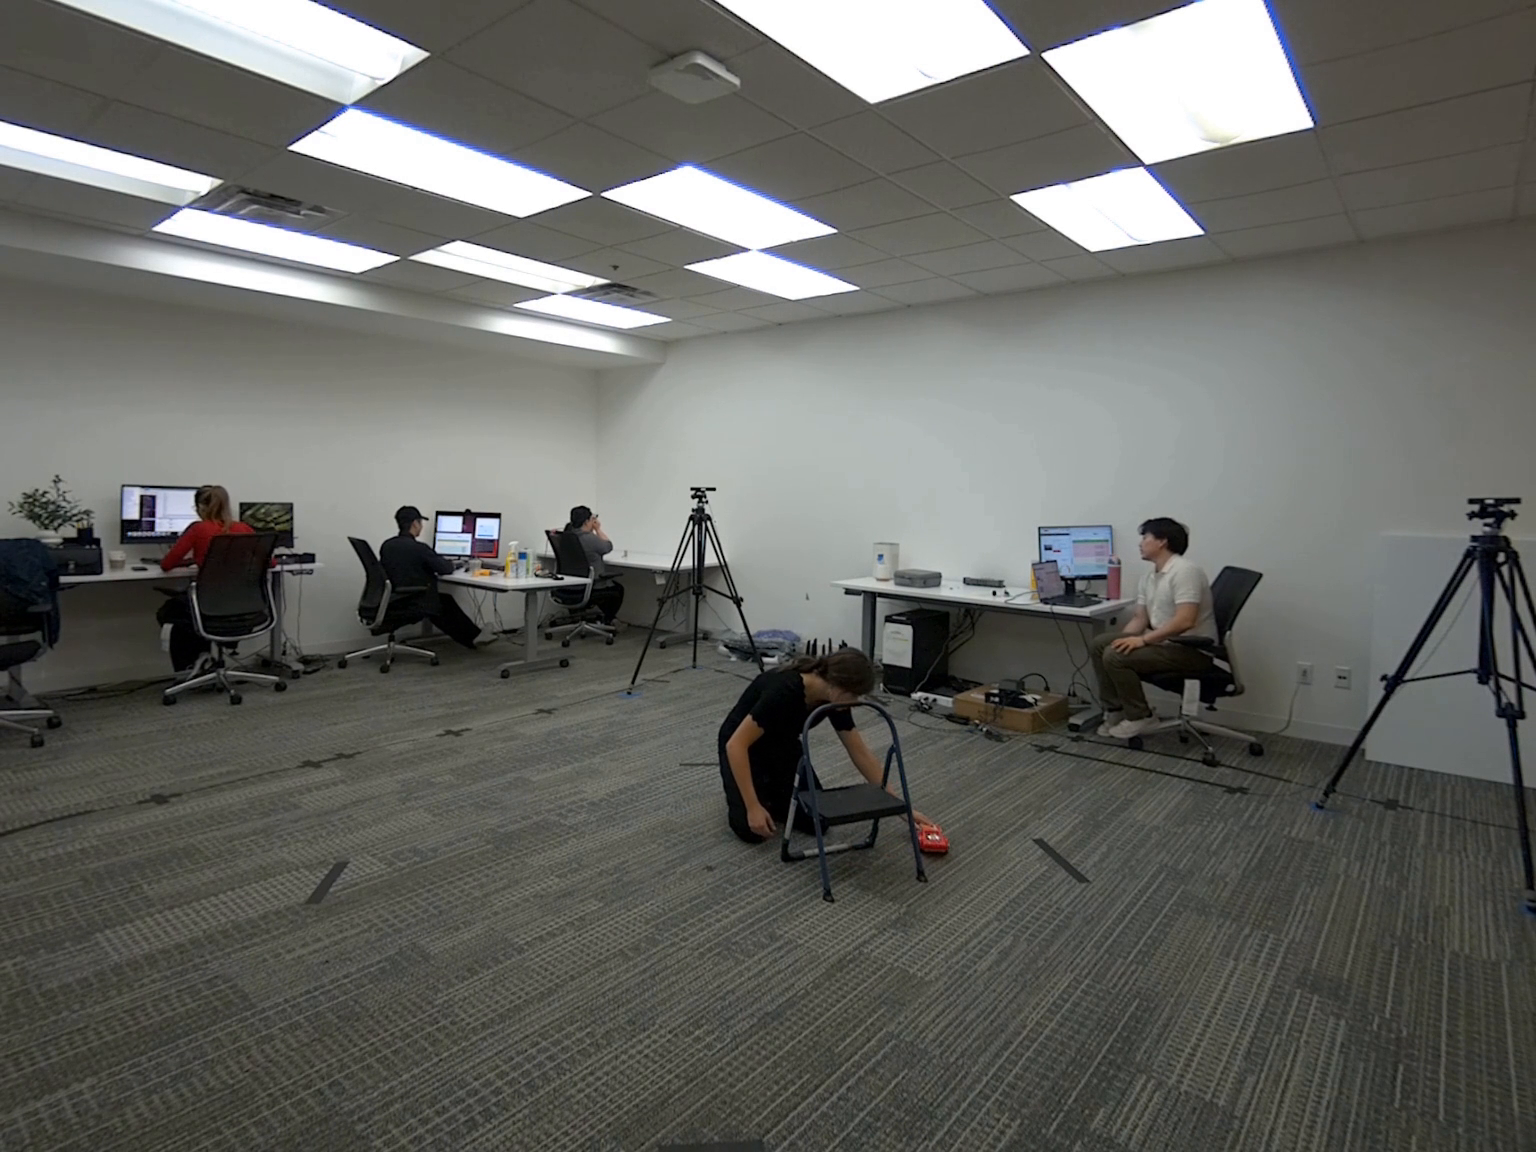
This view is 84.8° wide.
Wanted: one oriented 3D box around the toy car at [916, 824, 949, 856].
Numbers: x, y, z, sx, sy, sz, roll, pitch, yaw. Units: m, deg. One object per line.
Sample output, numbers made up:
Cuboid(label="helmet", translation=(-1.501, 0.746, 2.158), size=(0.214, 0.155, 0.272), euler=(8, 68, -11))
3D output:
Cuboid(label="toy car", translation=(0.636, 1.034, 3.359), size=(0.130, 0.084, 0.253), euler=(5, -6, -2))
